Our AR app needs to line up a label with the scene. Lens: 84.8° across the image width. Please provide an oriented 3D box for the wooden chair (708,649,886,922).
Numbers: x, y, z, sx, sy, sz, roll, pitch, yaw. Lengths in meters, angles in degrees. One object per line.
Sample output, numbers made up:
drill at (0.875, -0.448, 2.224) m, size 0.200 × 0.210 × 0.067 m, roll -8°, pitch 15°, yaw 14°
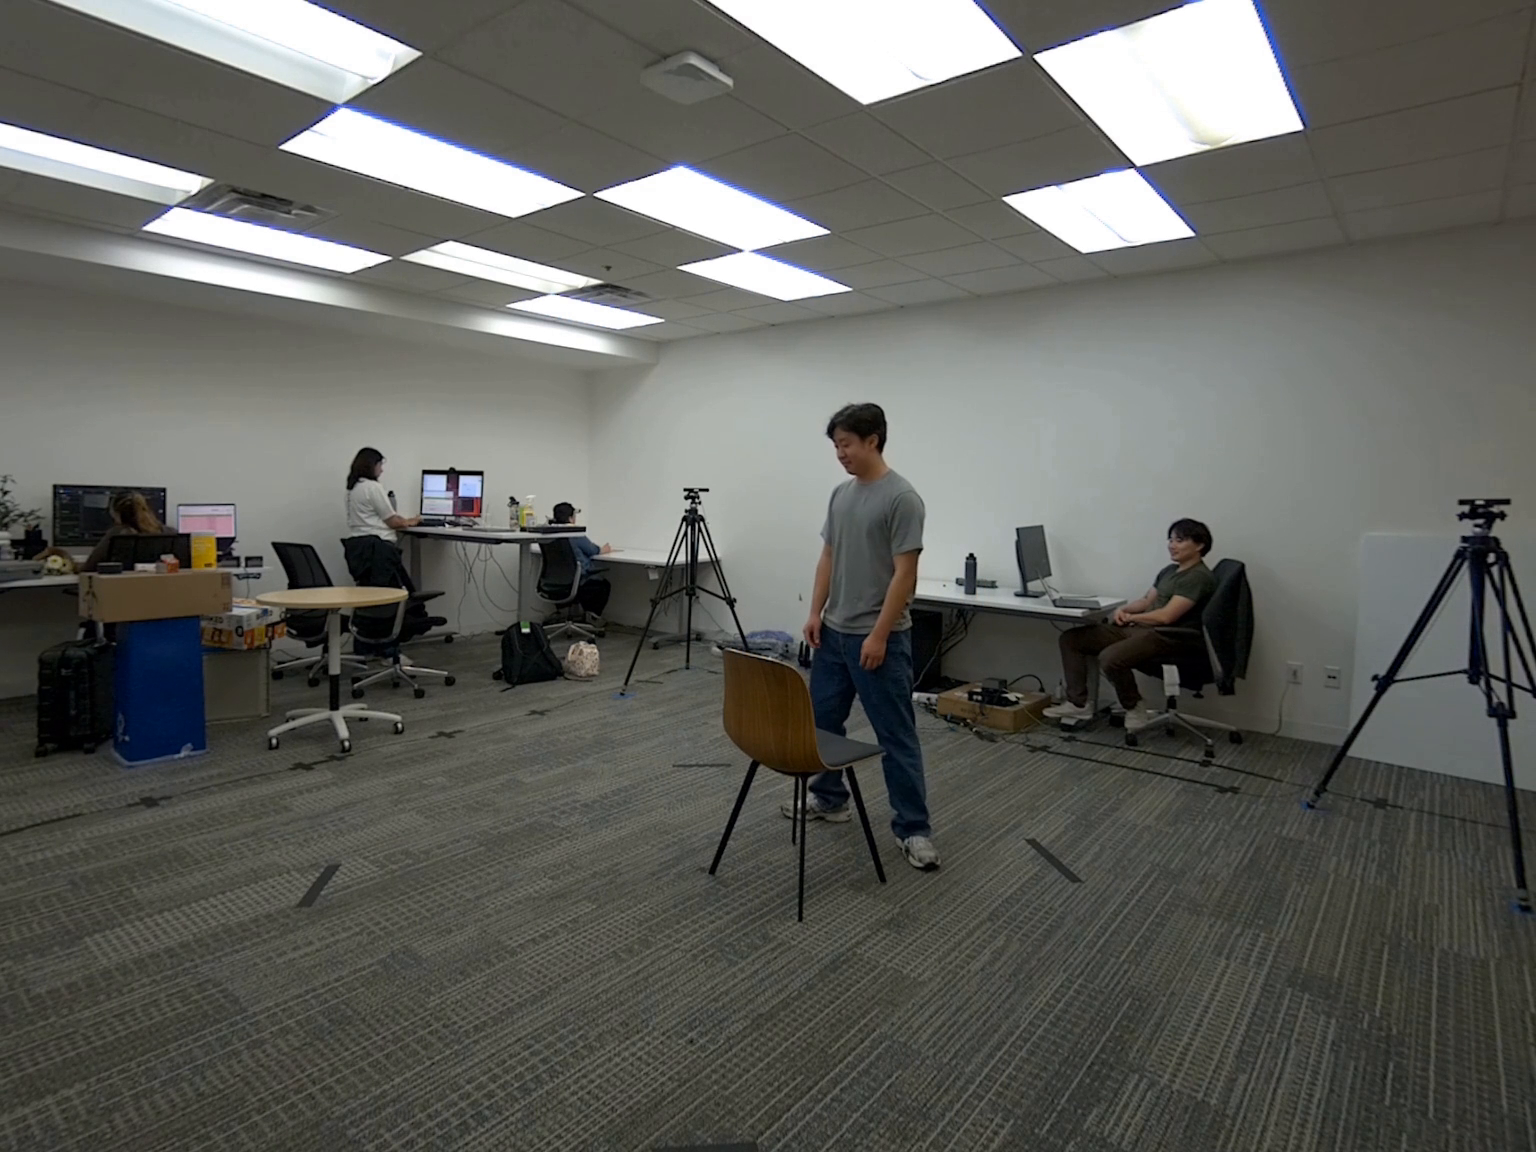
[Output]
wooden chair at (0.106, 0.658, 3.031) m, size 0.508 × 0.872 × 0.494 m, roll -7°, pitch 8°, yaw -44°
